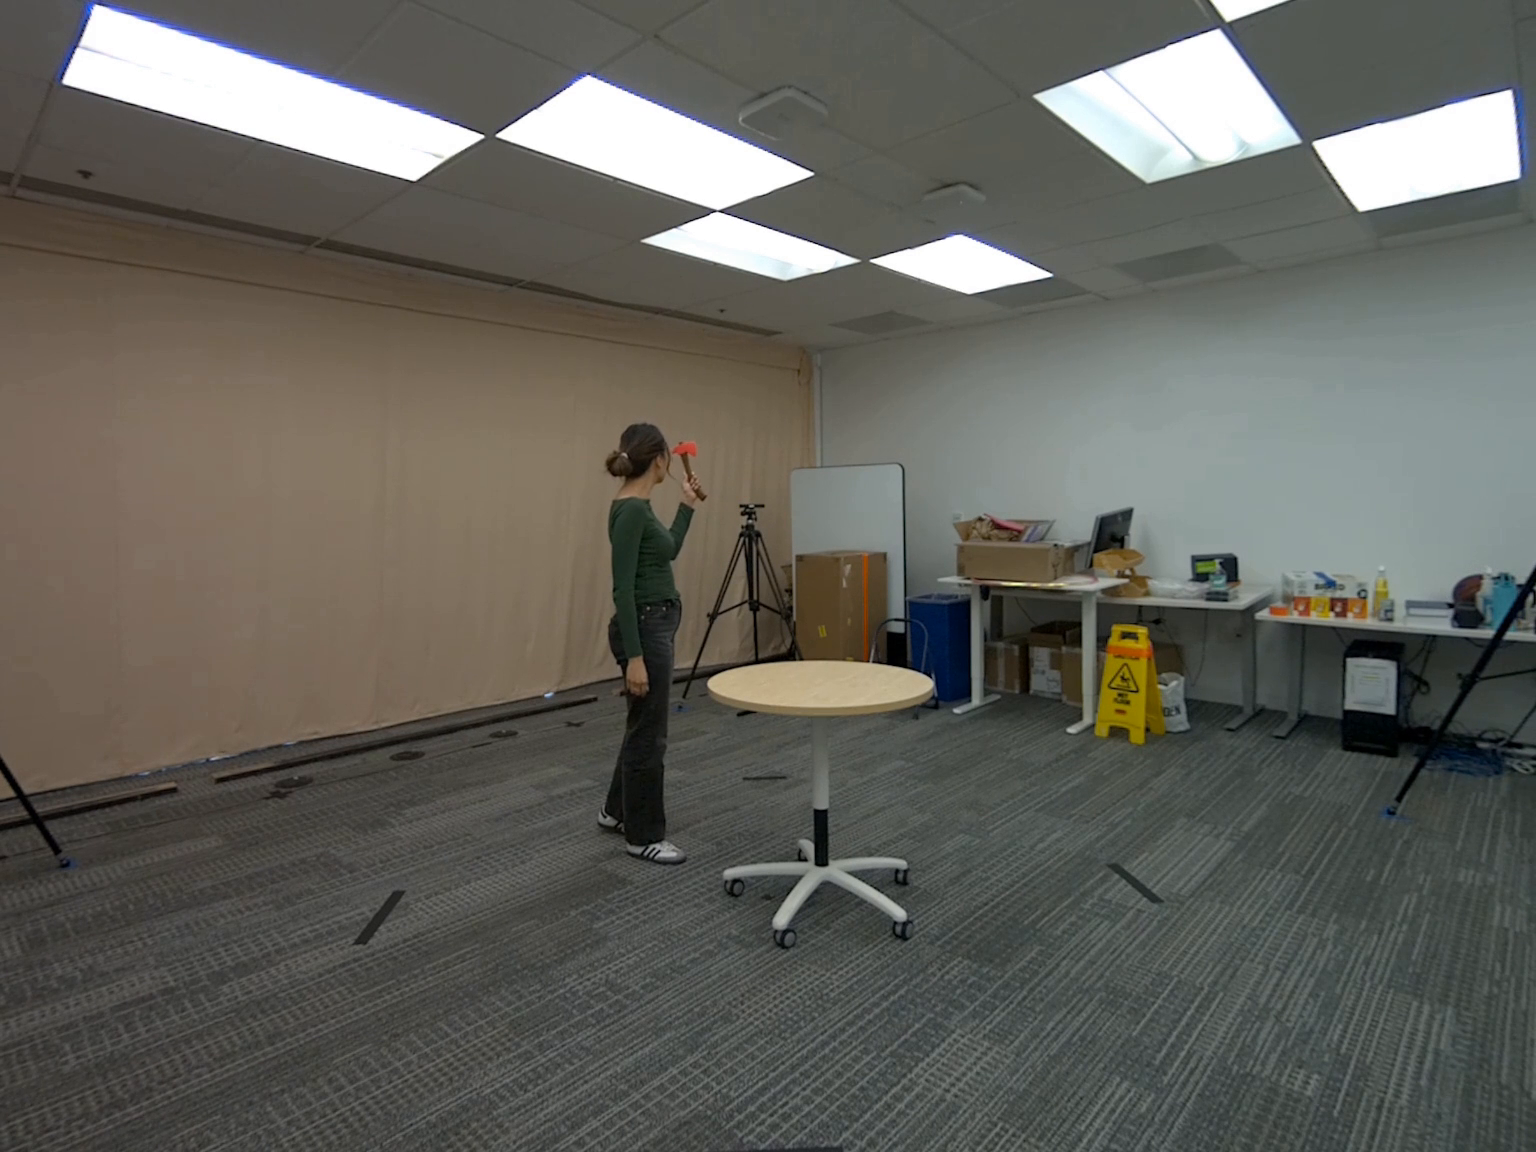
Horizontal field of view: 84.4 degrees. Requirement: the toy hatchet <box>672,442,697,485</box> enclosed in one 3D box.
[{"bbox_3d":[-0.316,-0.468,3.656,0.132,0.273,0.029,-36,-9,18],"label":"toy hatchet"}]
